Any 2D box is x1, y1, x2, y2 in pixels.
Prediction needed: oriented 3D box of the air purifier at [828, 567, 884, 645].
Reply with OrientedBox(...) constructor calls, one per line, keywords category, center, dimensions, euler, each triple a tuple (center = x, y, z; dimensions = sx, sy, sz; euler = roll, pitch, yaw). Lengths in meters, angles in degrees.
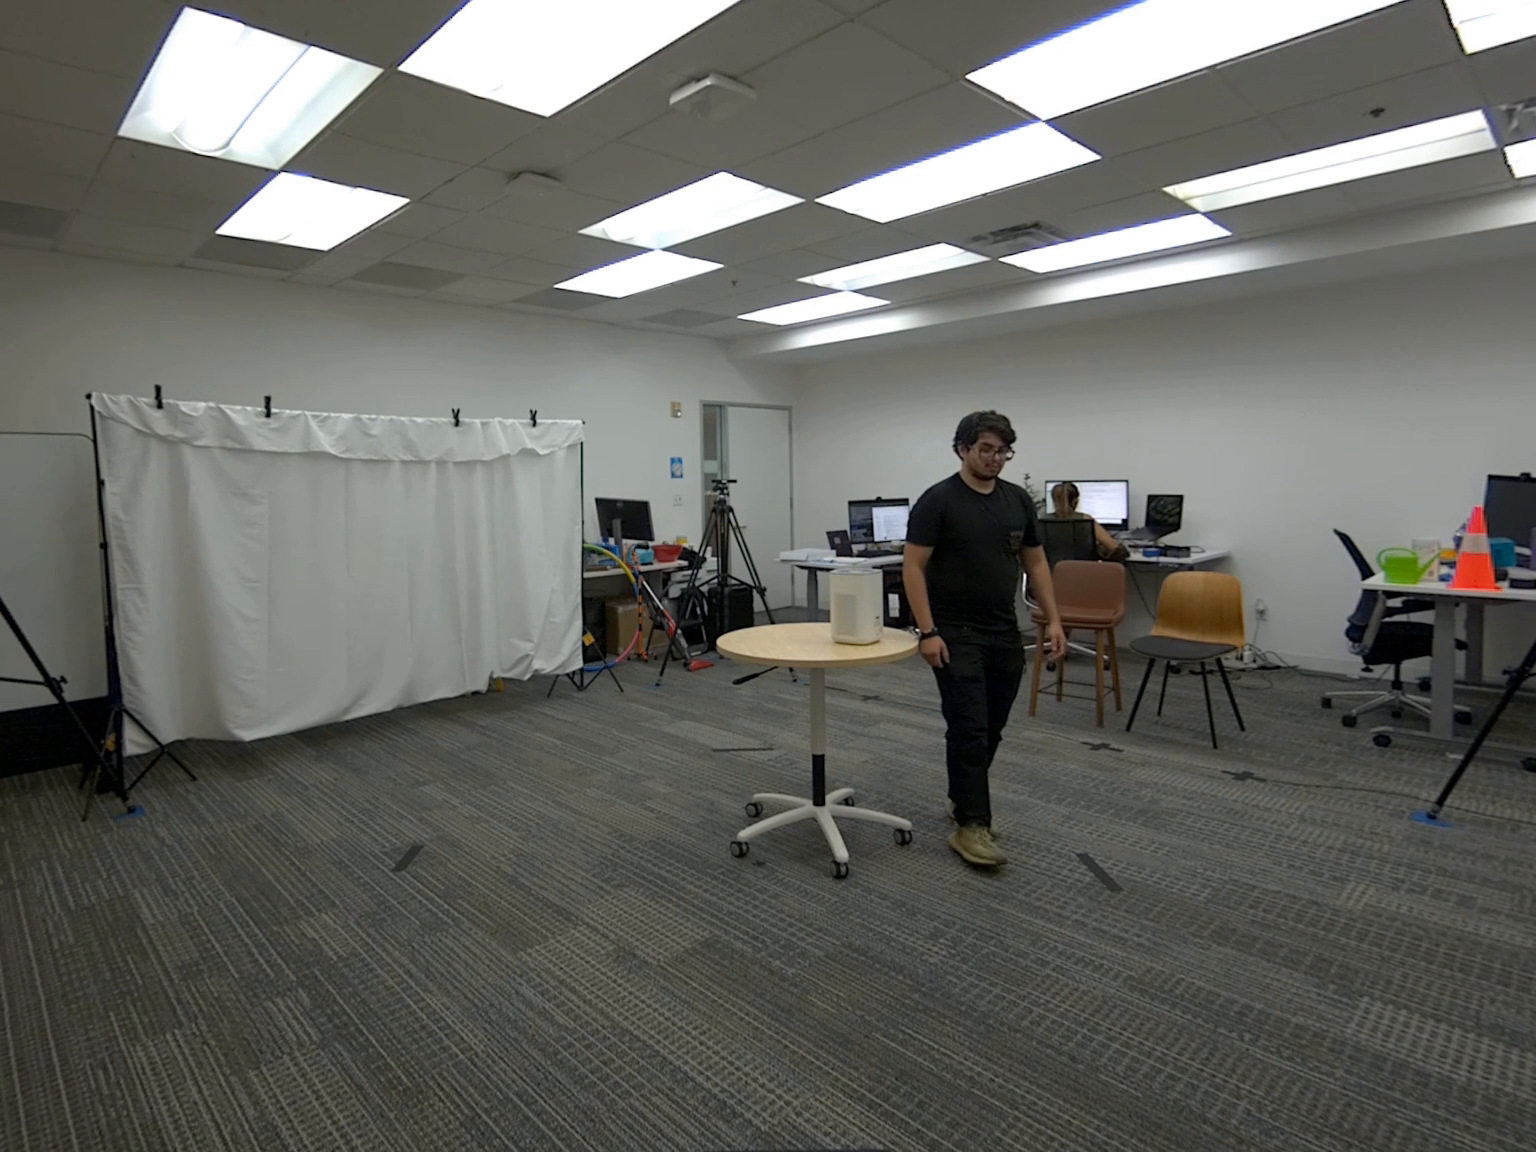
OrientedBox(category="air purifier", center=(0.337, 0.115, 3.197), dimensions=(0.176, 0.264, 0.167), euler=(1, 5, 33))
